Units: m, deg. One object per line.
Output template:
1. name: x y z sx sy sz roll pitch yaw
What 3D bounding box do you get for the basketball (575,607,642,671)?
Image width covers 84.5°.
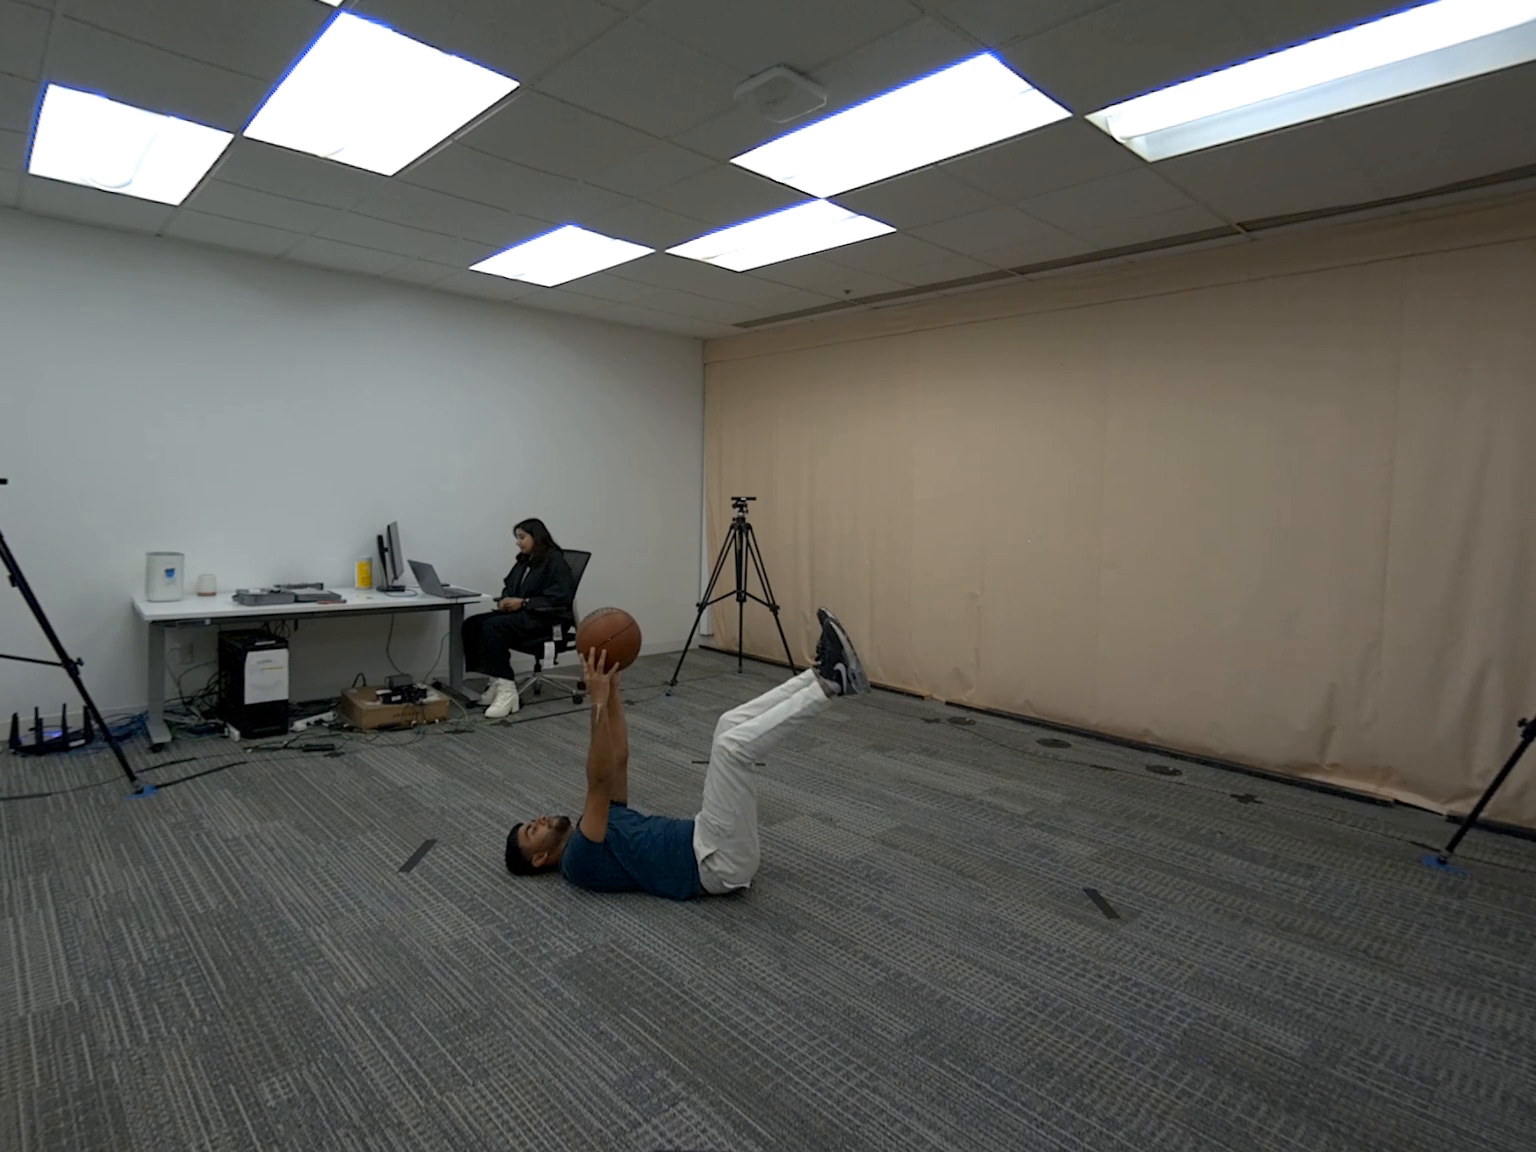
1. basketball: -0.581 0.243 3.044 0.236 0.235 0.237 1 4 -1
